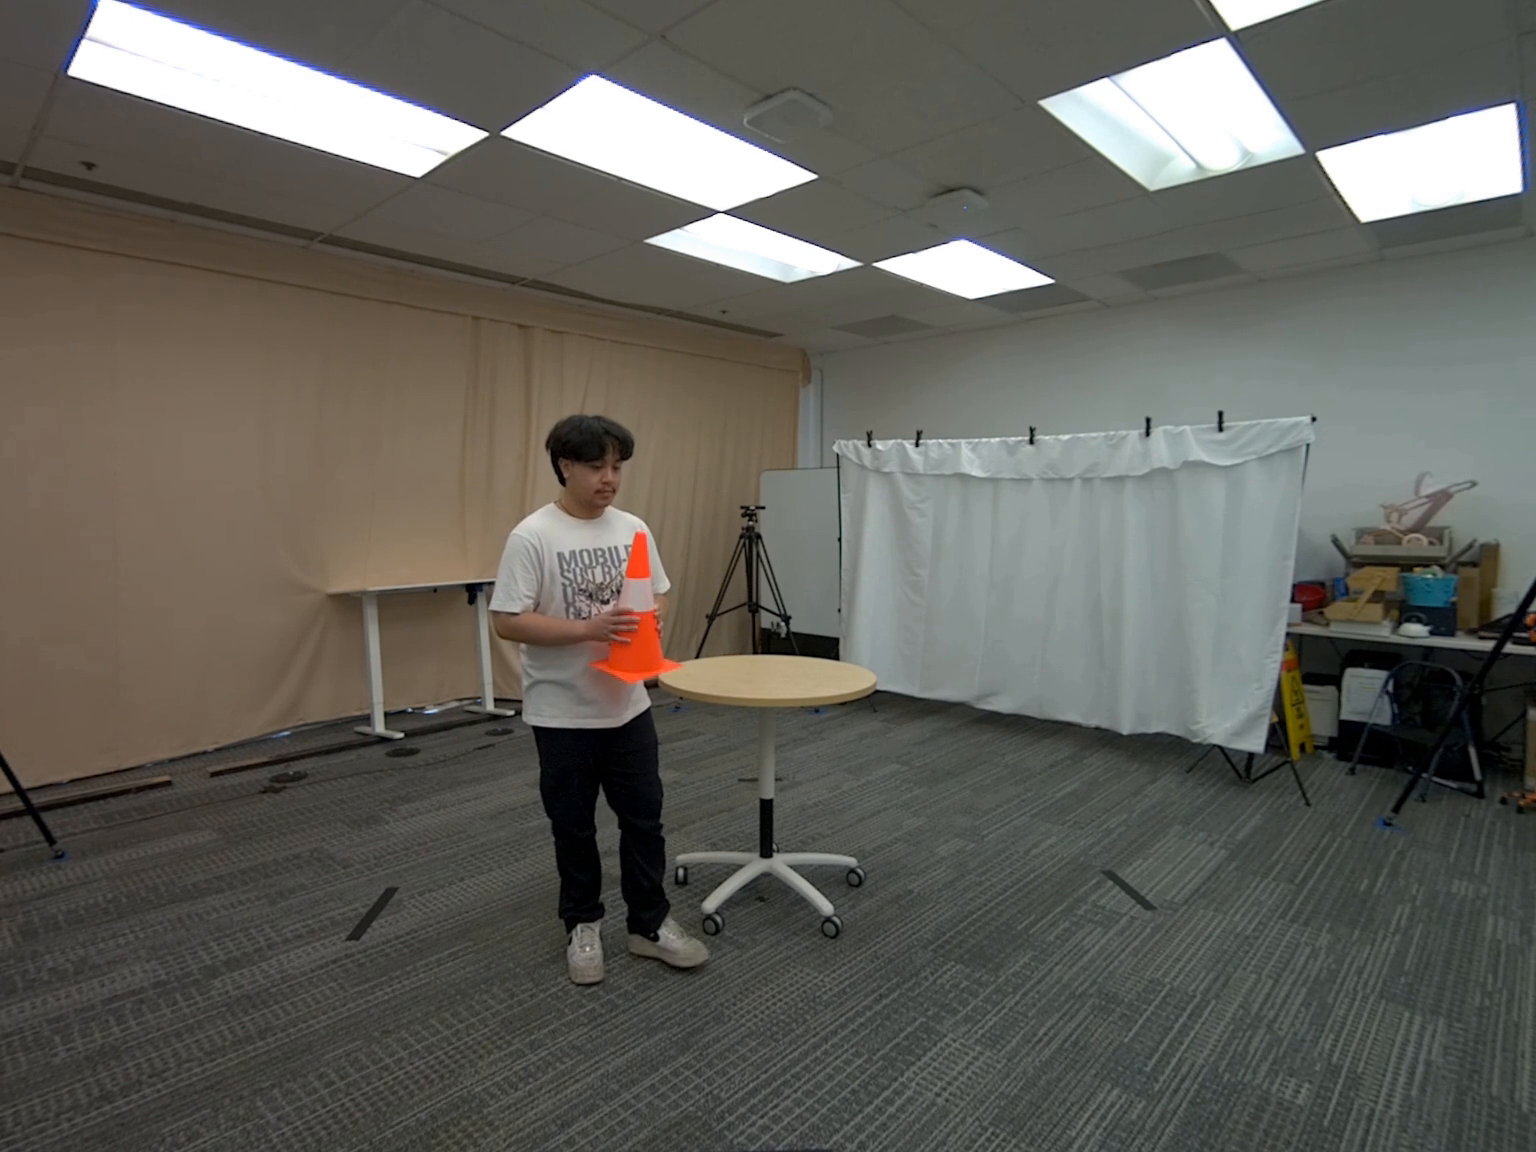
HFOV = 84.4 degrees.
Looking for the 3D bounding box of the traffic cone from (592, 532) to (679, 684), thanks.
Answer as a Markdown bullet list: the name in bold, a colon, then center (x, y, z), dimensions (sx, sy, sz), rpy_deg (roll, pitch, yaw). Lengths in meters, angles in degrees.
- **traffic cone**: center (-0.362, 0.065, 2.329), dimensions (0.210, 0.382, 0.199), rpy_deg (12, 10, 30)
